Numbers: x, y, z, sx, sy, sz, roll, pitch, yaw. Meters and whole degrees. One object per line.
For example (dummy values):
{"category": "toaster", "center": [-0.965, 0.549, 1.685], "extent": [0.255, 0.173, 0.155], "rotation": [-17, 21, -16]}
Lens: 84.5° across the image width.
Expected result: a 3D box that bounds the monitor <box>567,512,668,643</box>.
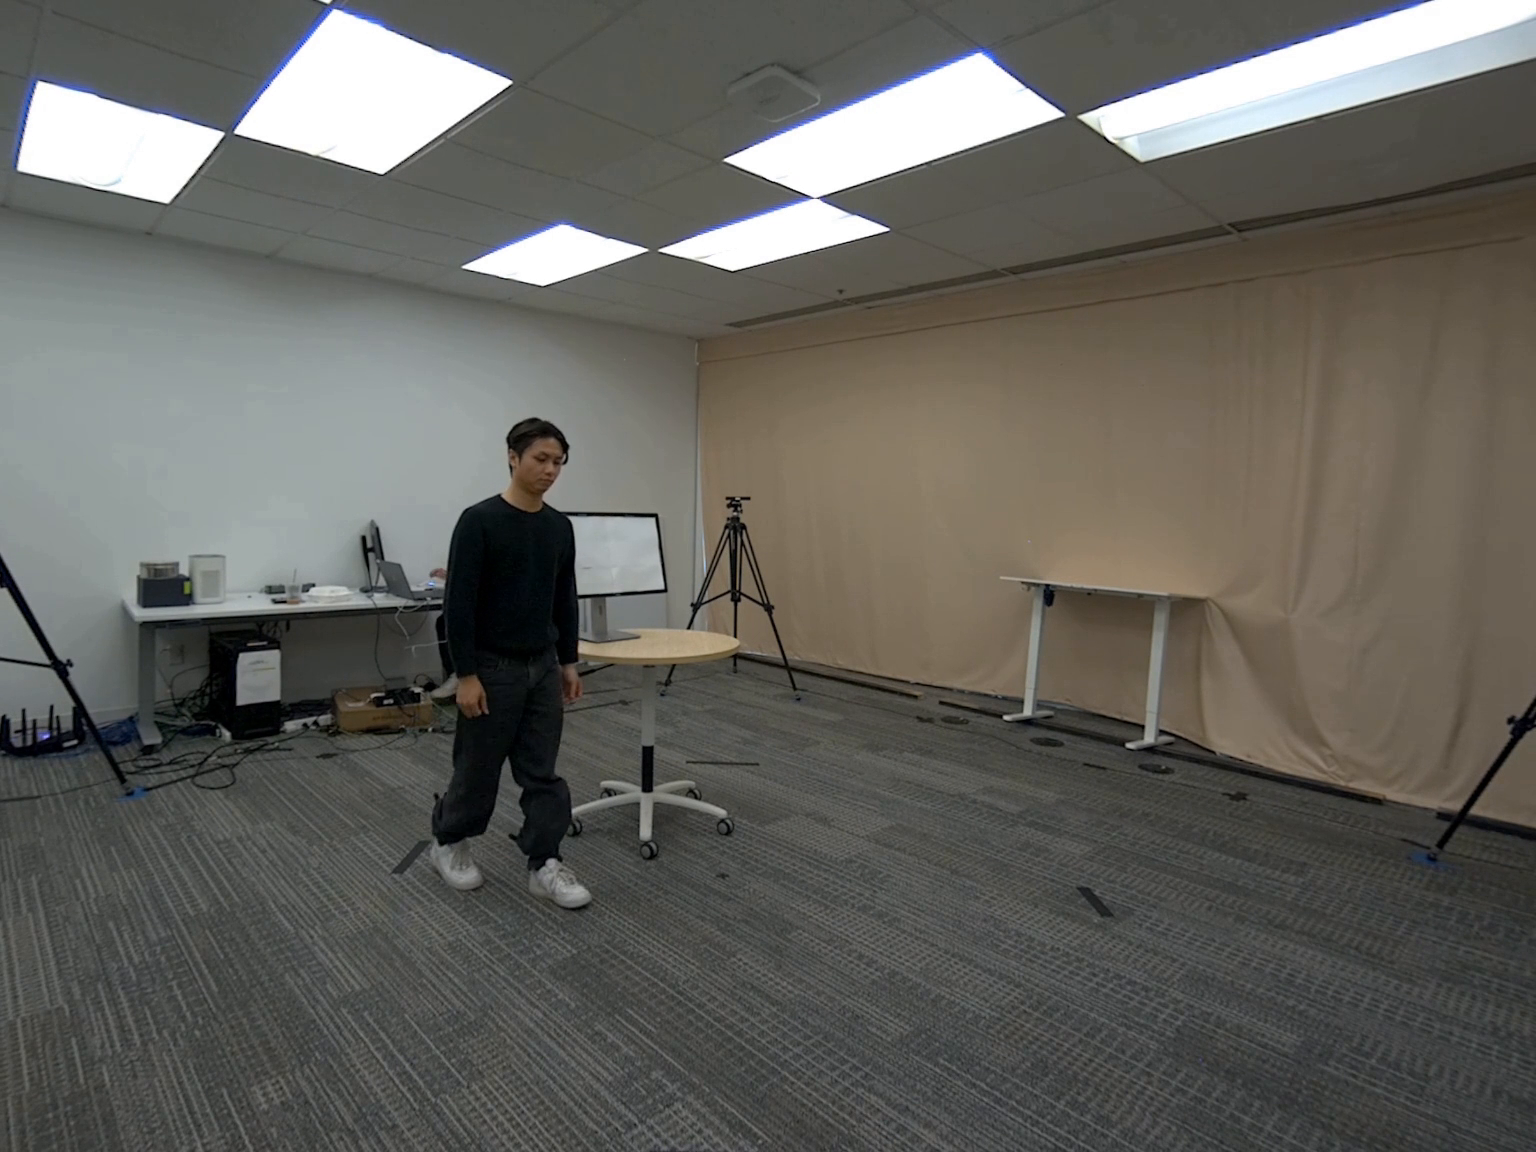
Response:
{"category": "monitor", "center": [-0.707, 0.000, 3.637], "extent": [0.192, 0.521, 0.527], "rotation": [4, 5, 41]}
